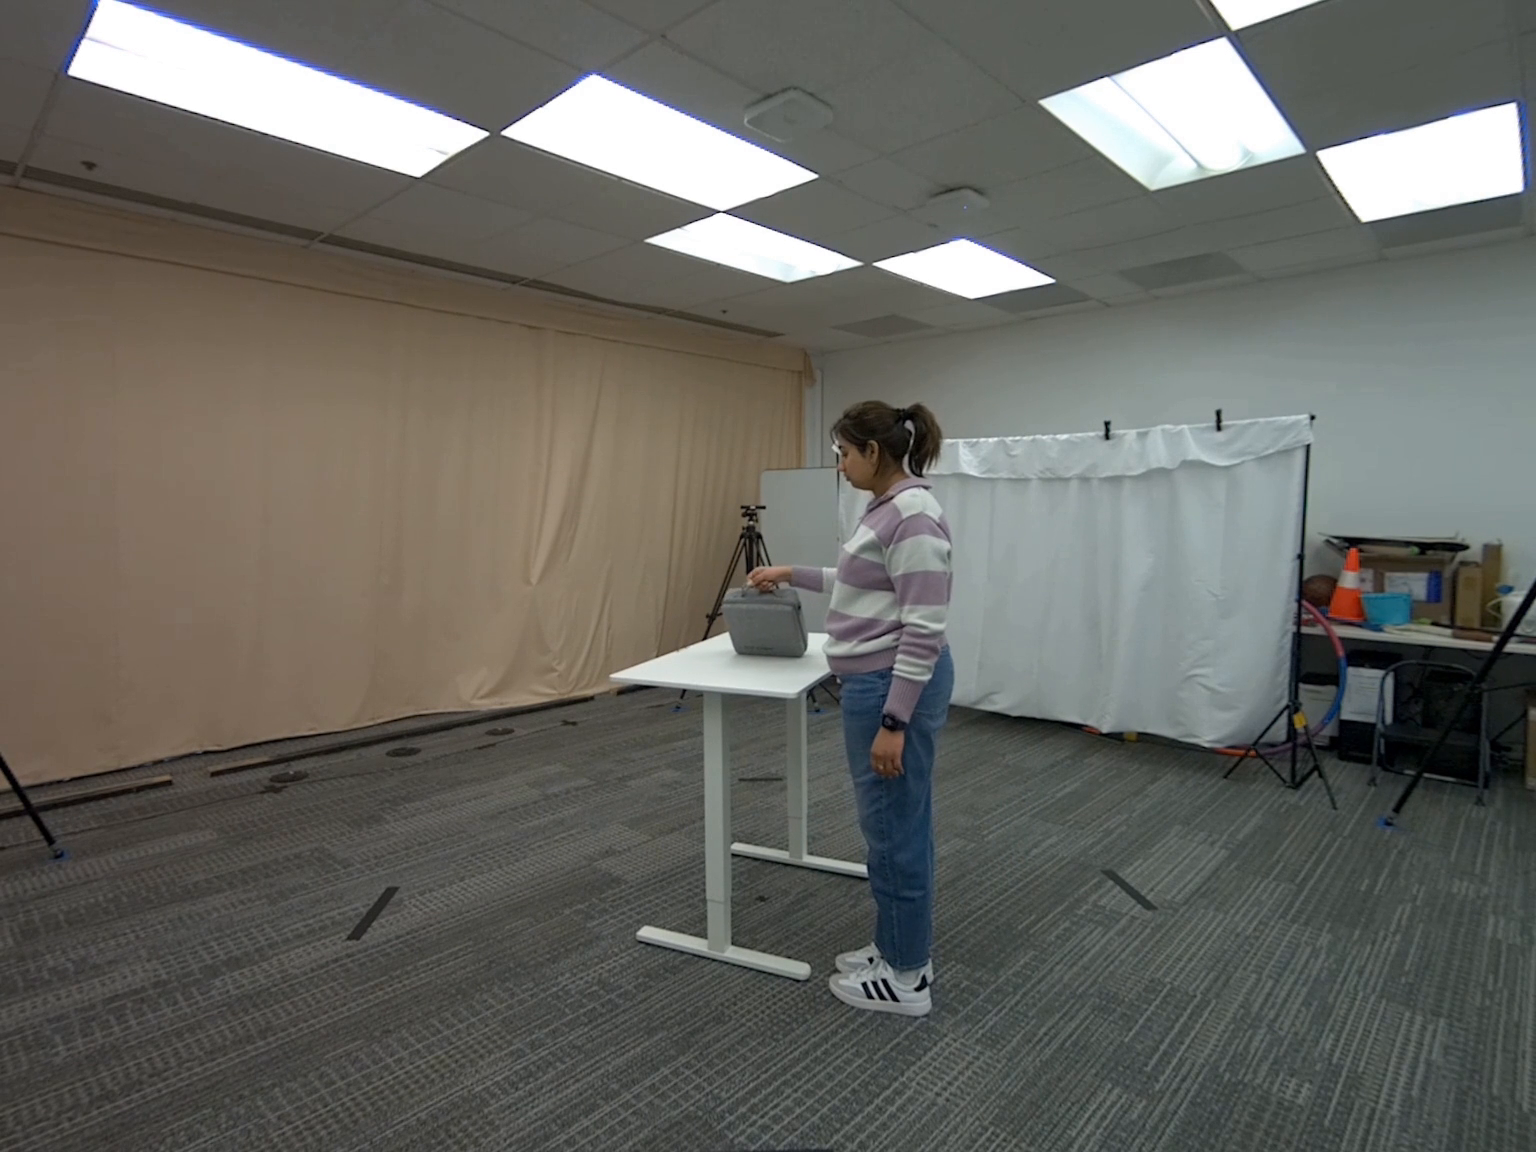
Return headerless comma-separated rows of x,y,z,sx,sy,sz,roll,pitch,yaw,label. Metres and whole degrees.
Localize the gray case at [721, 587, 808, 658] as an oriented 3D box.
-0.010,0.155,2.802,0.262,0.254,0.105,3,44,18,gray case
